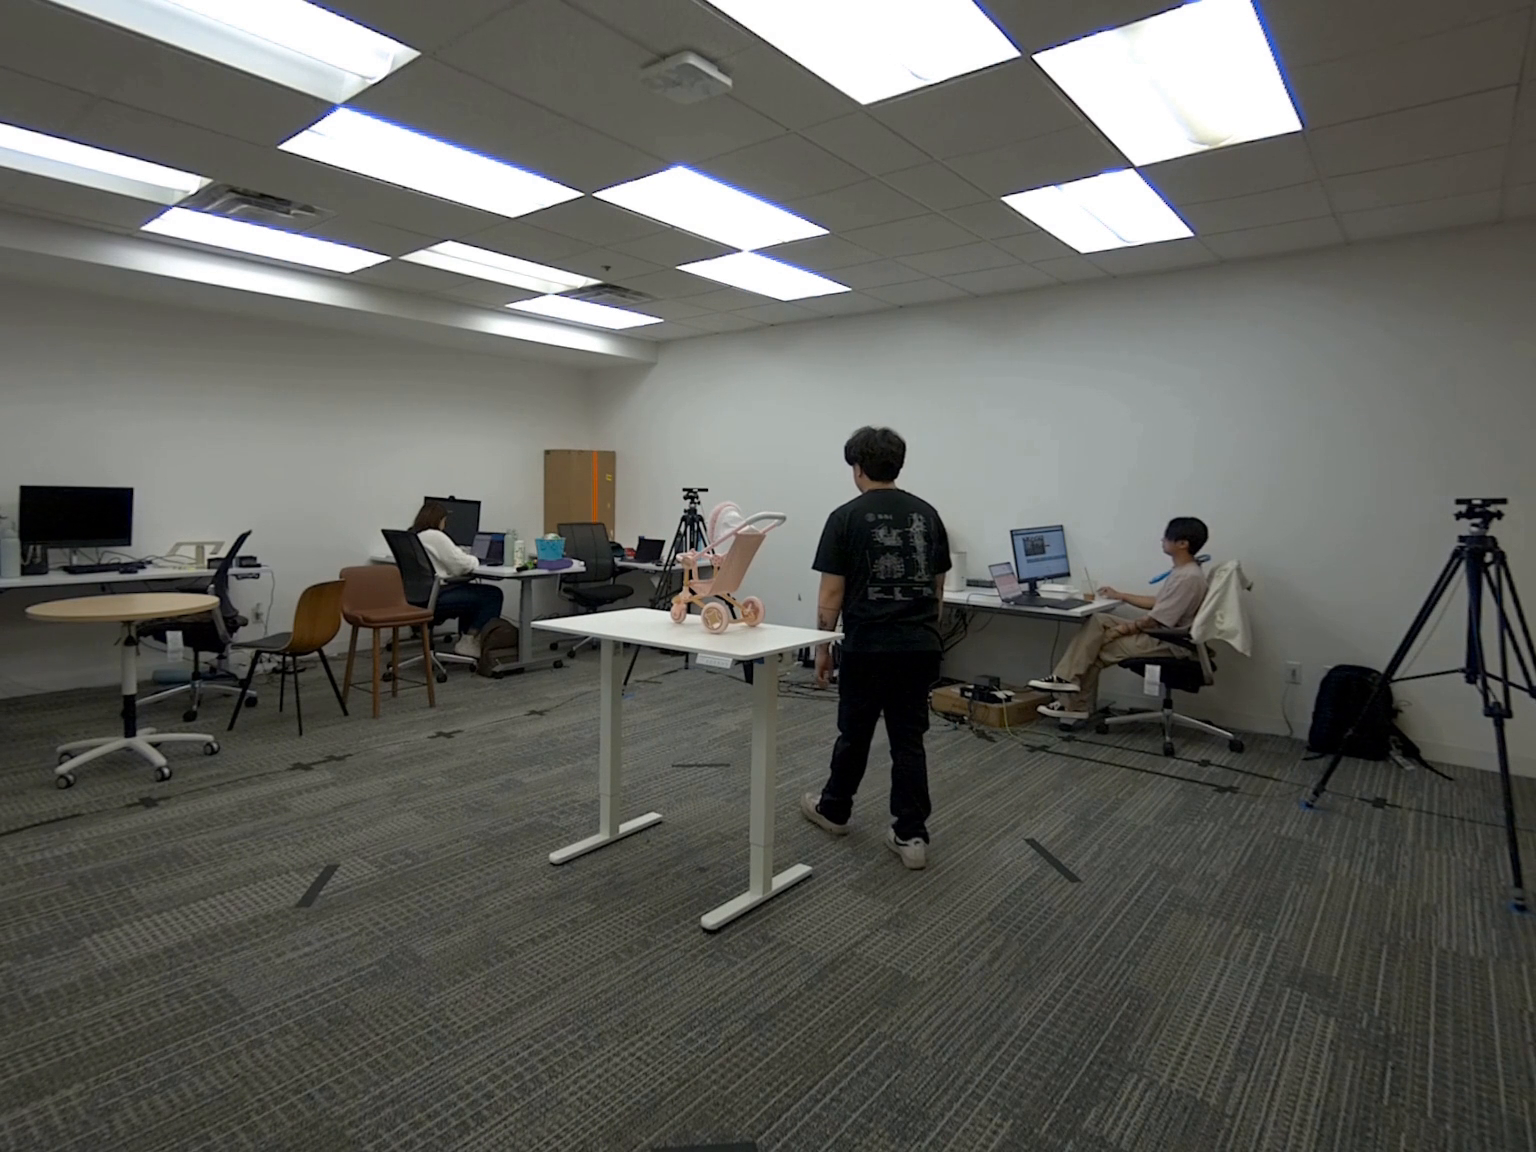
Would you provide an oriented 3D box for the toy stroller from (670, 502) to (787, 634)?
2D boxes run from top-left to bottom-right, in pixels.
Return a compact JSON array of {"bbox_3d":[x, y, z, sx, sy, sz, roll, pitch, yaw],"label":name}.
[{"bbox_3d":[-0.184,-0.033,3.093,0.354,0.531,0.273,23,14,34],"label":"toy stroller"}]
